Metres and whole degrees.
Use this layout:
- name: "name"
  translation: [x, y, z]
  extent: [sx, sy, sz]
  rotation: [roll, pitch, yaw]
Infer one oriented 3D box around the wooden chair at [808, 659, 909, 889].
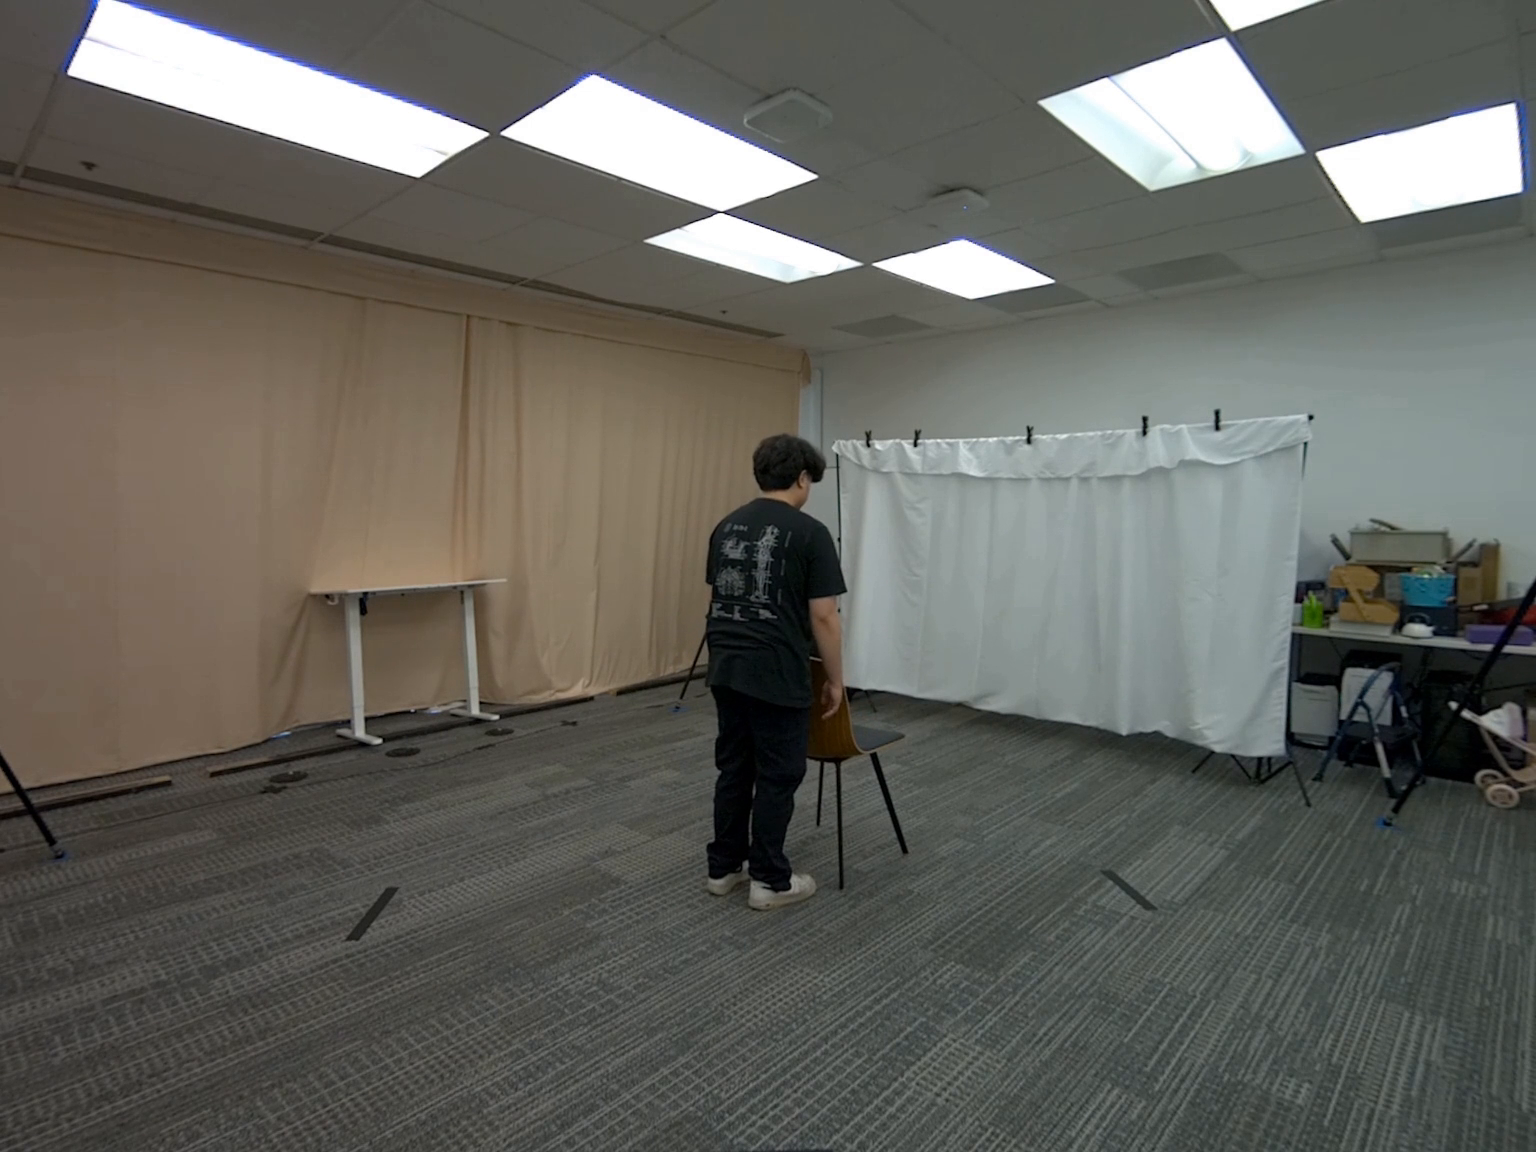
- name: "wooden chair"
  translation: [0.249, 0.685, 3.346]
  extent: [0.494, 0.873, 0.508]
  rotation: [2, 9, 42]
